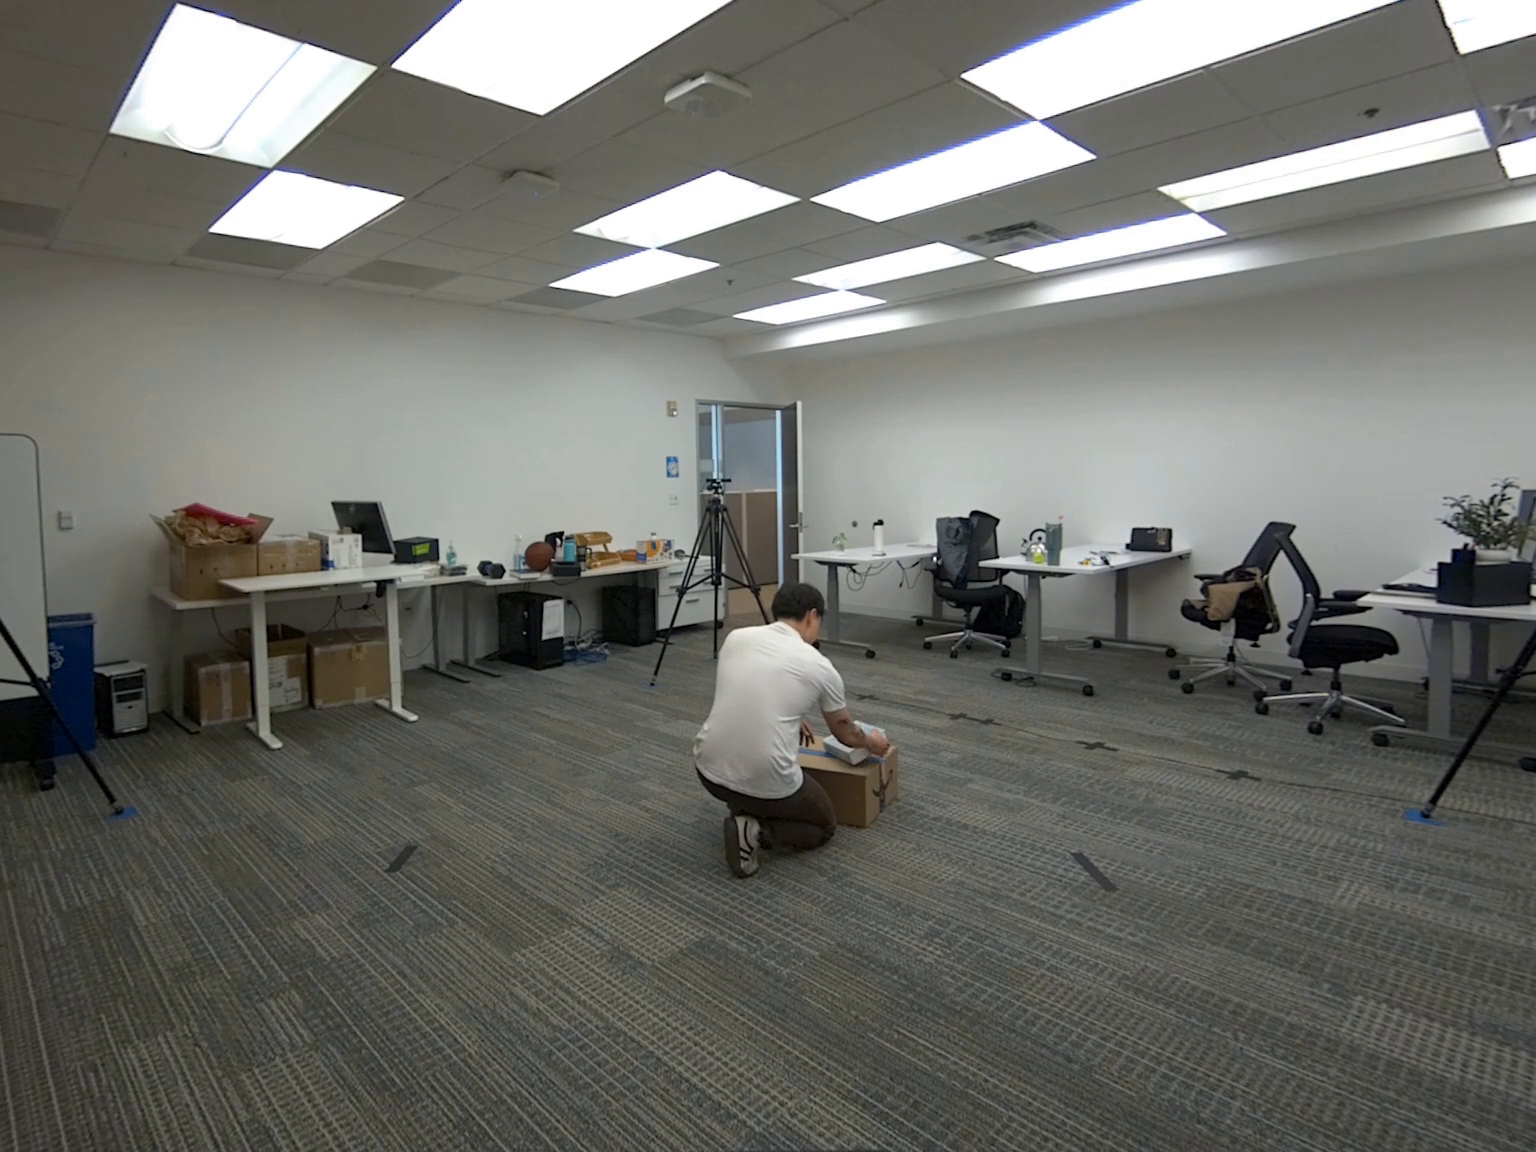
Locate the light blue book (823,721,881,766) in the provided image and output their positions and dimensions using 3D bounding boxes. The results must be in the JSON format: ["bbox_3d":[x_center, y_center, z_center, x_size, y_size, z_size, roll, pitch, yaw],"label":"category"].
[{"bbox_3d":[0.362,0.701,3.628,0.190,0.058,0.265,-25,9,-17],"label":"light blue book"}]
